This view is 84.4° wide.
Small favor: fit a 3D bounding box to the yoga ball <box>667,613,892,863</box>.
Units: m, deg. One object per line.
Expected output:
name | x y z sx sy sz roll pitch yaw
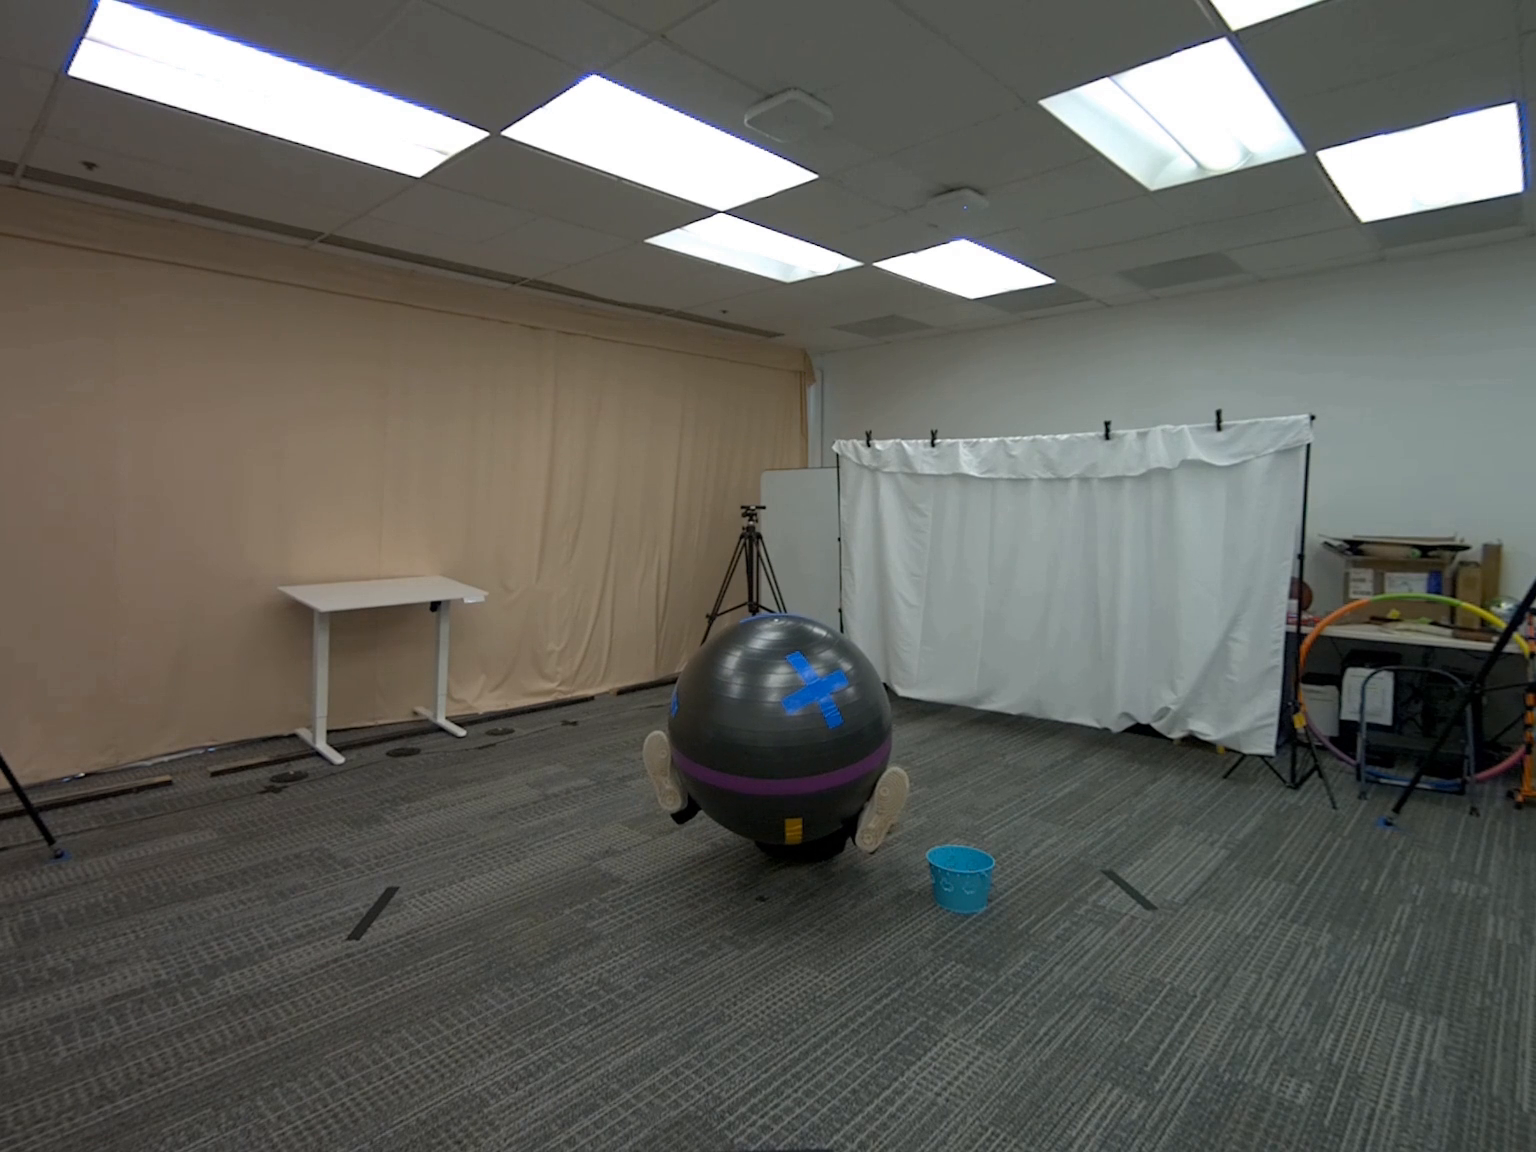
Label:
yoga ball | 0.042 0.515 2.863 0.757 0.756 0.760 0 4 -2
